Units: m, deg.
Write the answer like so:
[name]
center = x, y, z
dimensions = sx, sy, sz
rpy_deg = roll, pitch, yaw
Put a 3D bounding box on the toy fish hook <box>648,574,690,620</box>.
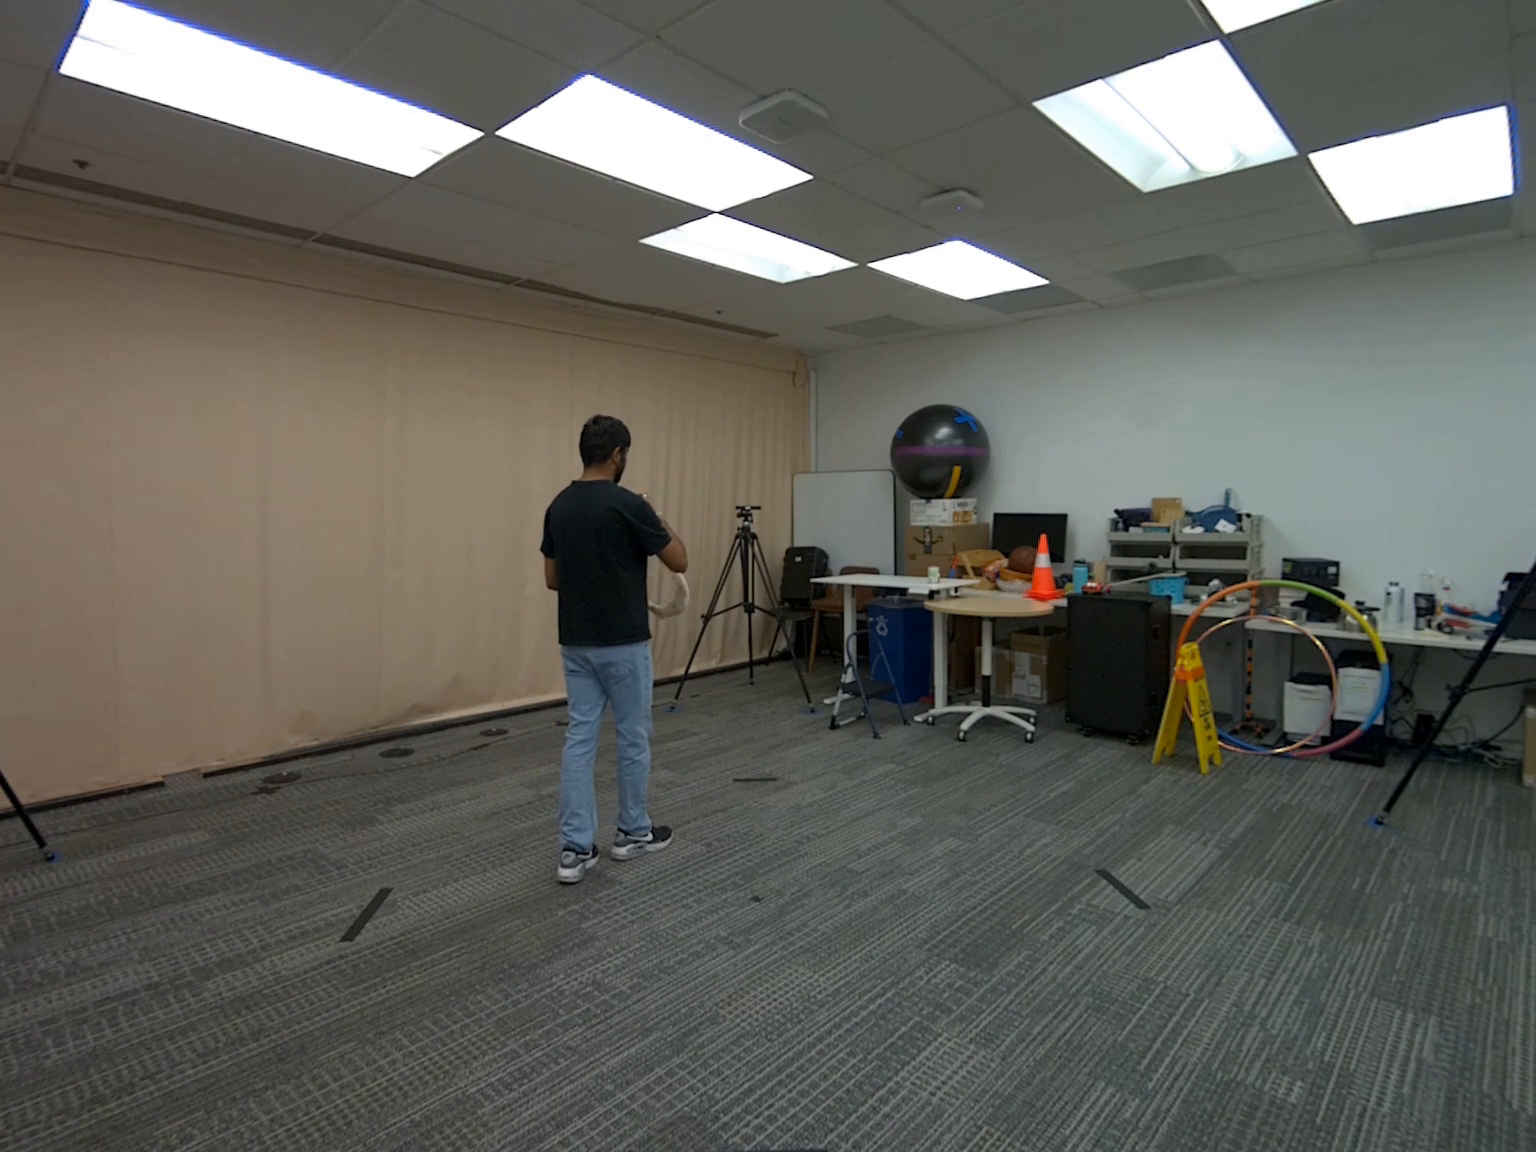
[toy fish hook]
center = -0.503, -0.063, 3.516
dimensions = 0.227, 0.506, 0.048
rpy_deg = -21, 1, 16
